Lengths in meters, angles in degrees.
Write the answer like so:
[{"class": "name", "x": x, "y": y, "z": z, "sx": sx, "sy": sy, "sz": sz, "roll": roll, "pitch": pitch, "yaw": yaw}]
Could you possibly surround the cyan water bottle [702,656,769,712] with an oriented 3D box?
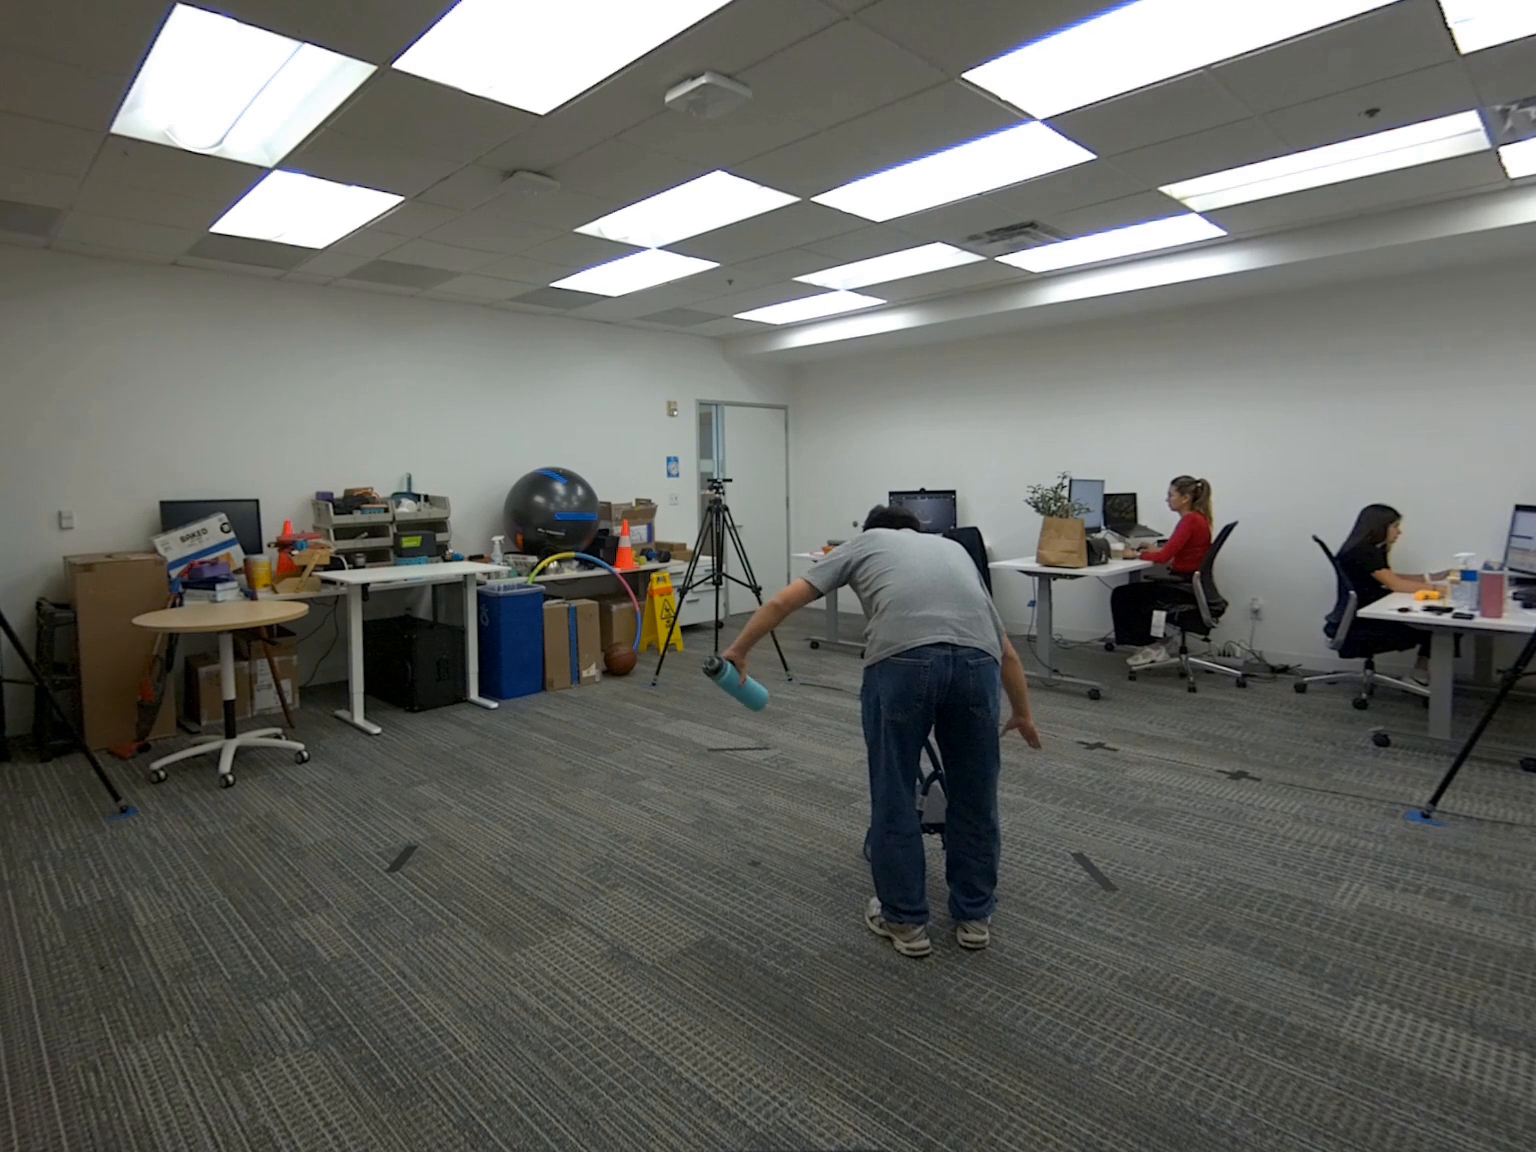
[{"class": "cyan water bottle", "x": -0.086, "y": 0.371, "z": 2.908, "sx": 0.095, "sy": 0.093, "sz": 0.273, "roll": 4, "pitch": -31, "yaw": 50}]
